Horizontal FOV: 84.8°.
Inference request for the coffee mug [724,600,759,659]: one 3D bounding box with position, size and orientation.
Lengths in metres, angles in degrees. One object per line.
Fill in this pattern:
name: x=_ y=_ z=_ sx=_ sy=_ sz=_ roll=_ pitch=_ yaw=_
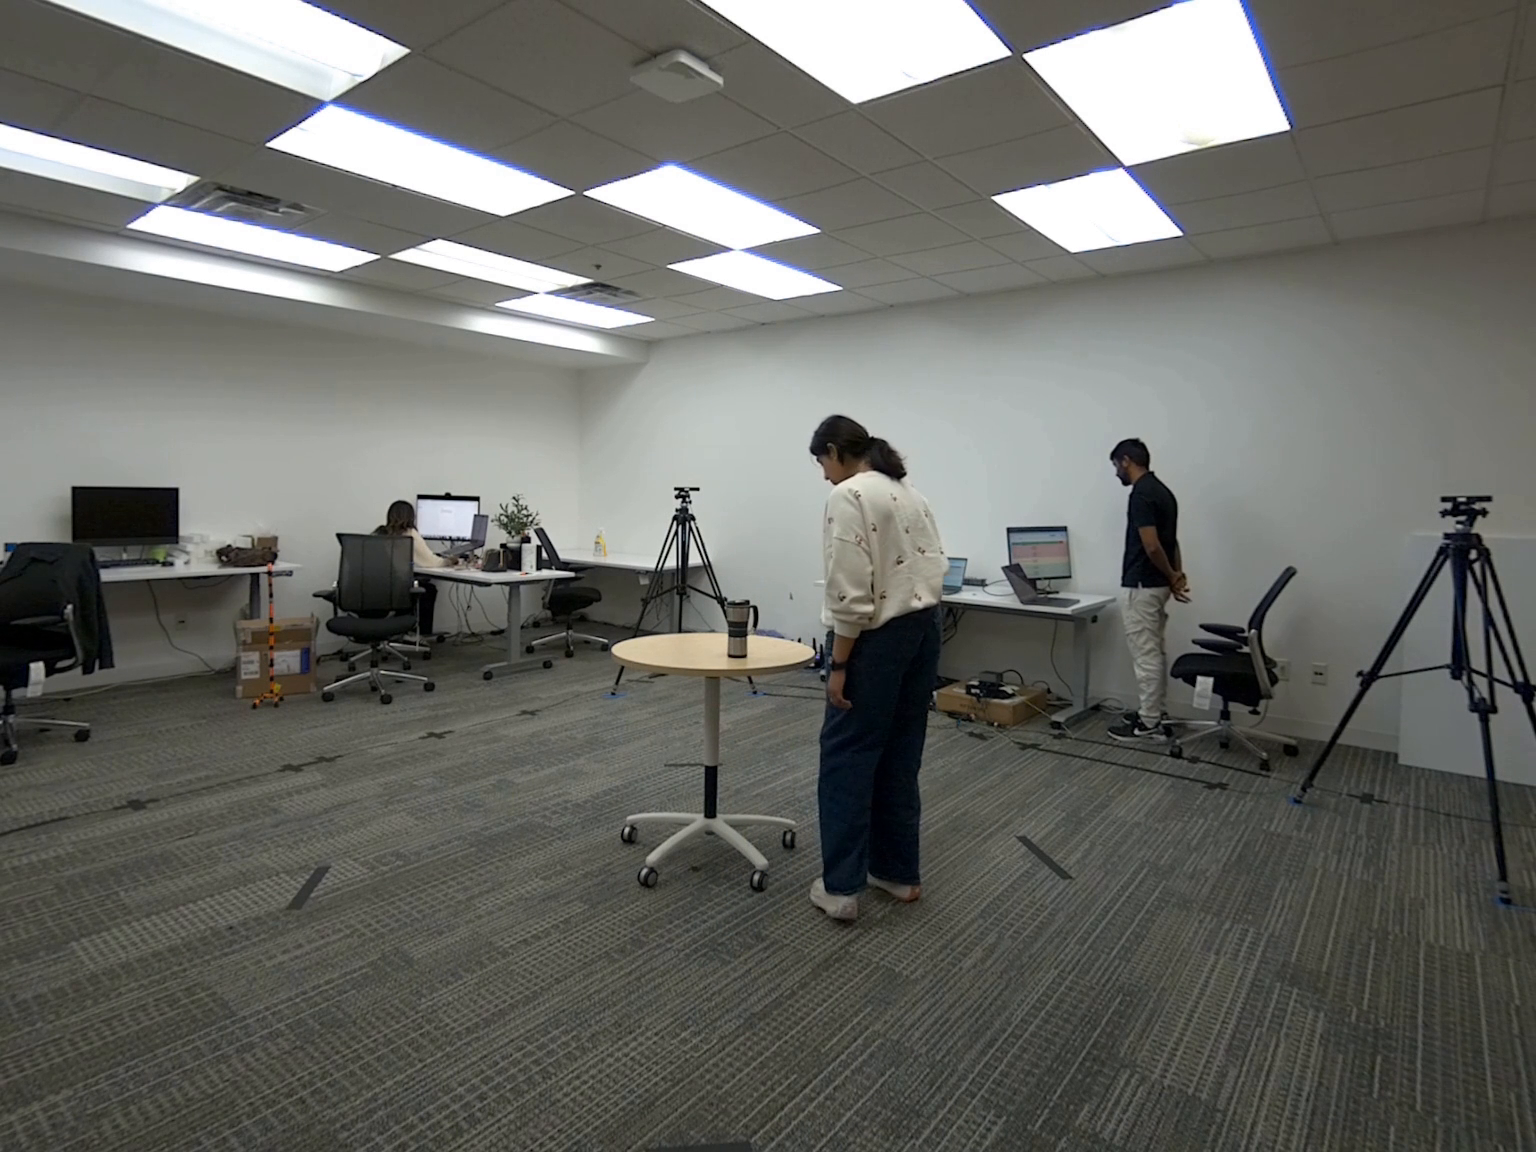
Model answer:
coffee mug: x=-0.138 y=0.187 z=3.068 sx=0.120 sy=0.202 sz=0.089 roll=5 pitch=5 yaw=-13
